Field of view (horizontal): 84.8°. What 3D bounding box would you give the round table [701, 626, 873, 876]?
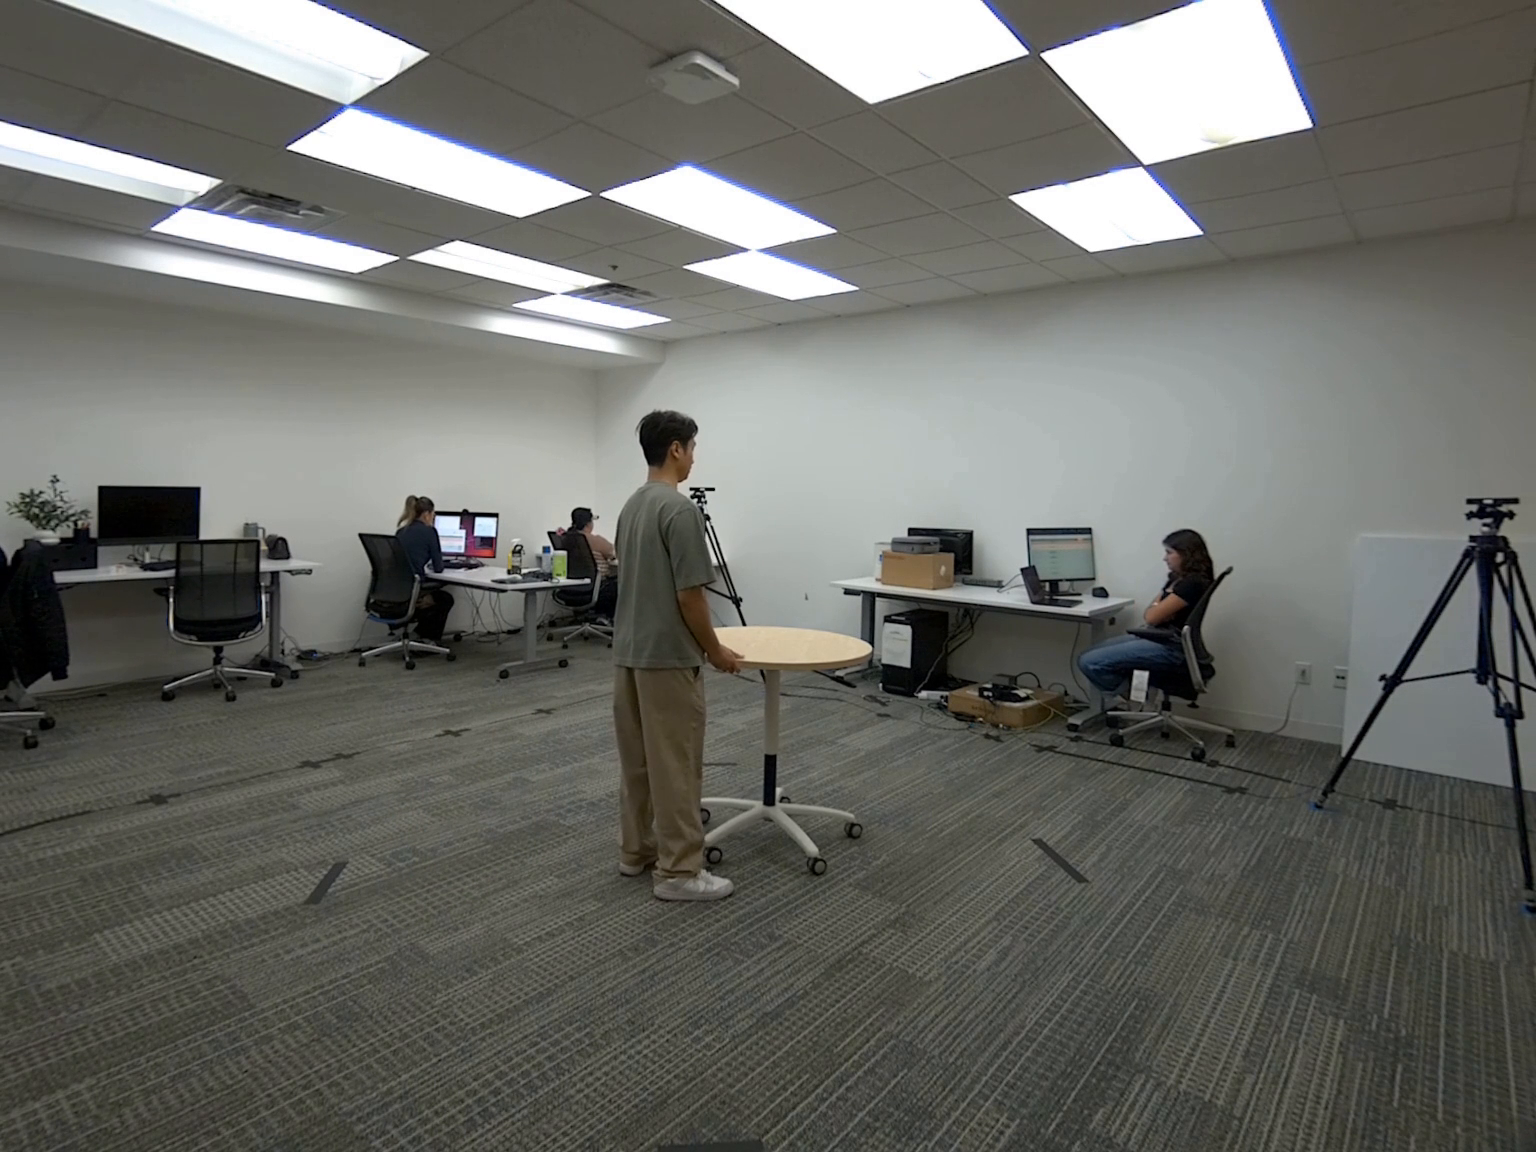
[{"bbox_3d":[-0.003,0.647,3.379,0.784,0.784,0.789,2,4,-2],"label":"round table"}]
